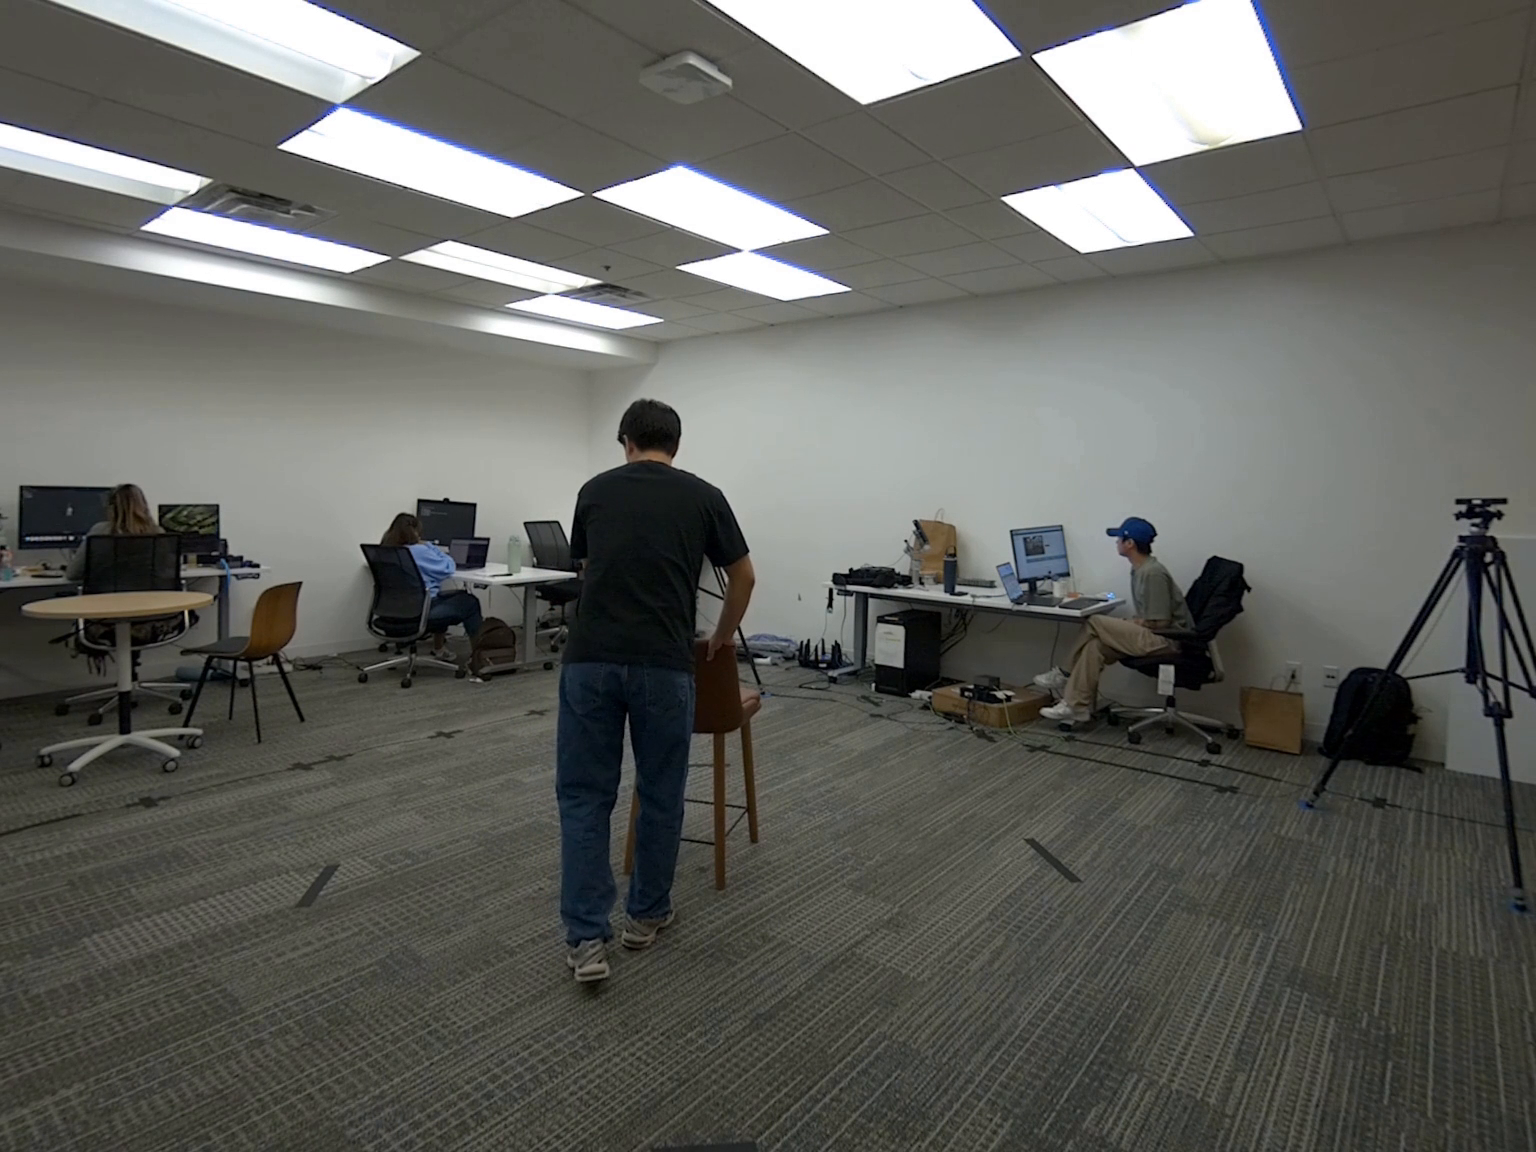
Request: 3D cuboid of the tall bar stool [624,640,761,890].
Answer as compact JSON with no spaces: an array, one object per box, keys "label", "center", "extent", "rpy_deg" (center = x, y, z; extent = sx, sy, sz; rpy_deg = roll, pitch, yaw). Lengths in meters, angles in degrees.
[{"label":"tall bar stool","center":[-0.290,0.624,3.188],"extent":[0.465,0.885,0.461],"rpy_deg":[1,5,16]}]
